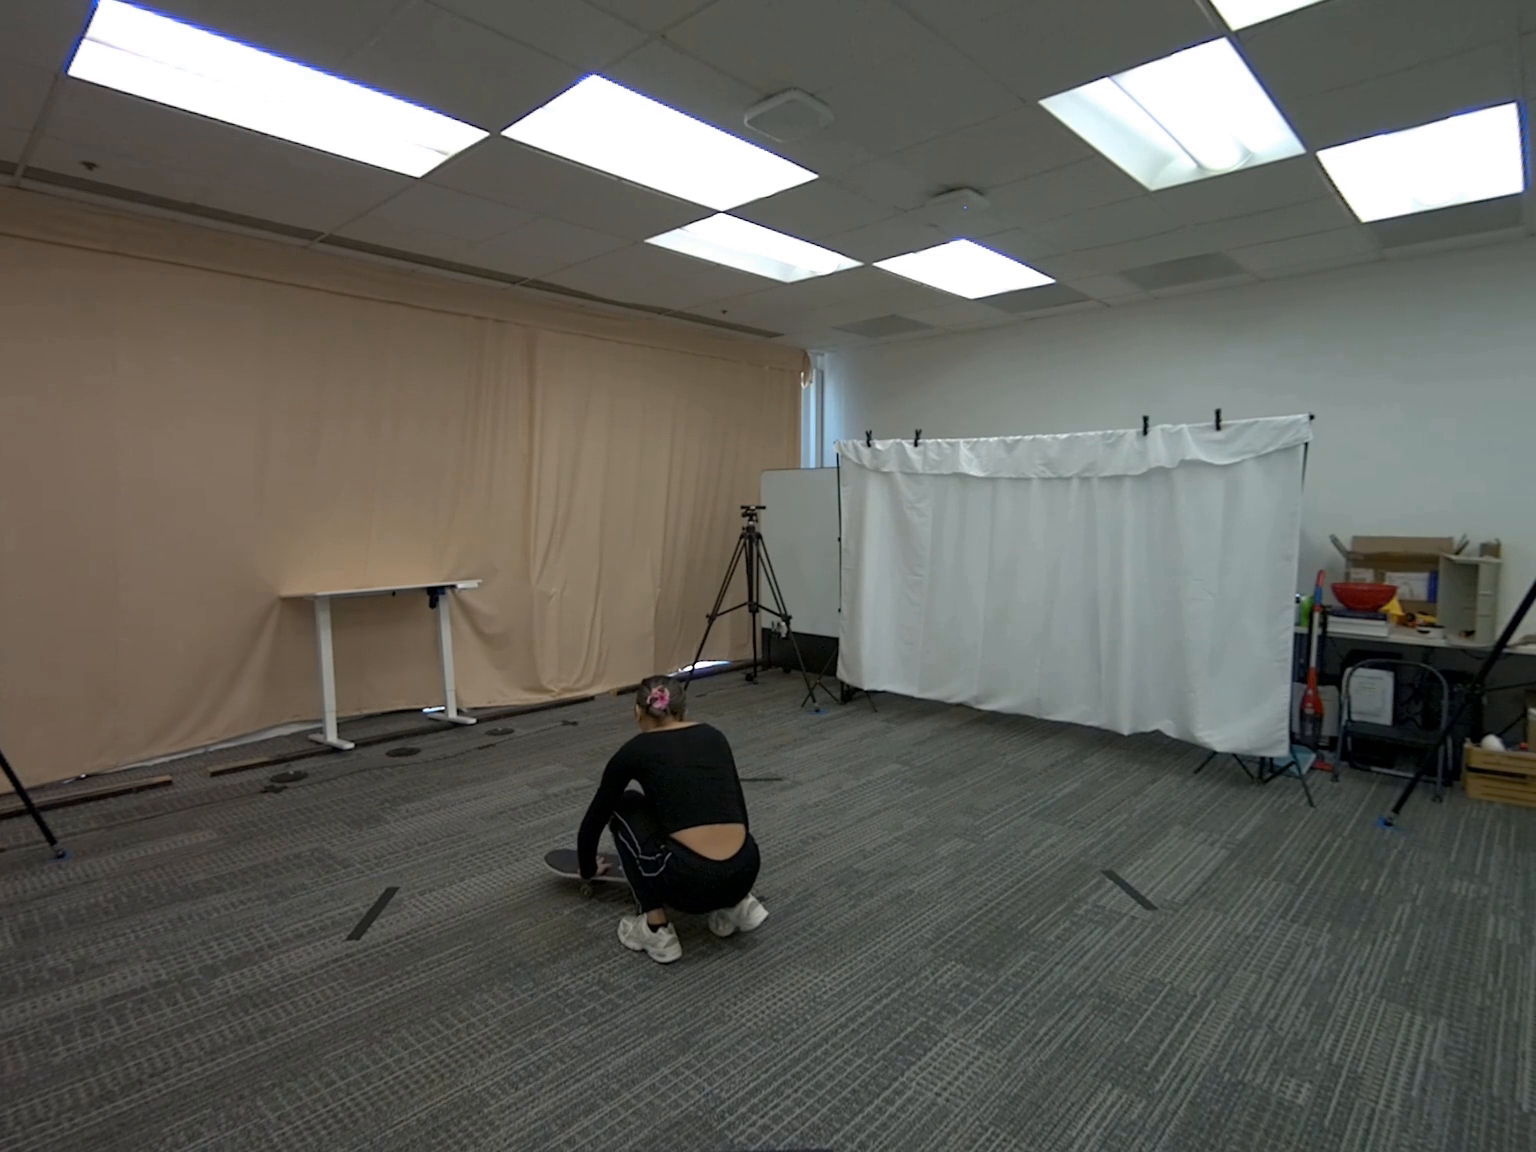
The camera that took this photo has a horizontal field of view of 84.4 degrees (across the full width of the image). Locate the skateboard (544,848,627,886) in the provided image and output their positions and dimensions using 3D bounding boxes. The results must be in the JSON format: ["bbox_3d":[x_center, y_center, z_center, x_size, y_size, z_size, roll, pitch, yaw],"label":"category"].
[{"bbox_3d":[-0.431,1.084,3.028,0.796,0.110,0.191,1,5,12],"label":"skateboard"}]
